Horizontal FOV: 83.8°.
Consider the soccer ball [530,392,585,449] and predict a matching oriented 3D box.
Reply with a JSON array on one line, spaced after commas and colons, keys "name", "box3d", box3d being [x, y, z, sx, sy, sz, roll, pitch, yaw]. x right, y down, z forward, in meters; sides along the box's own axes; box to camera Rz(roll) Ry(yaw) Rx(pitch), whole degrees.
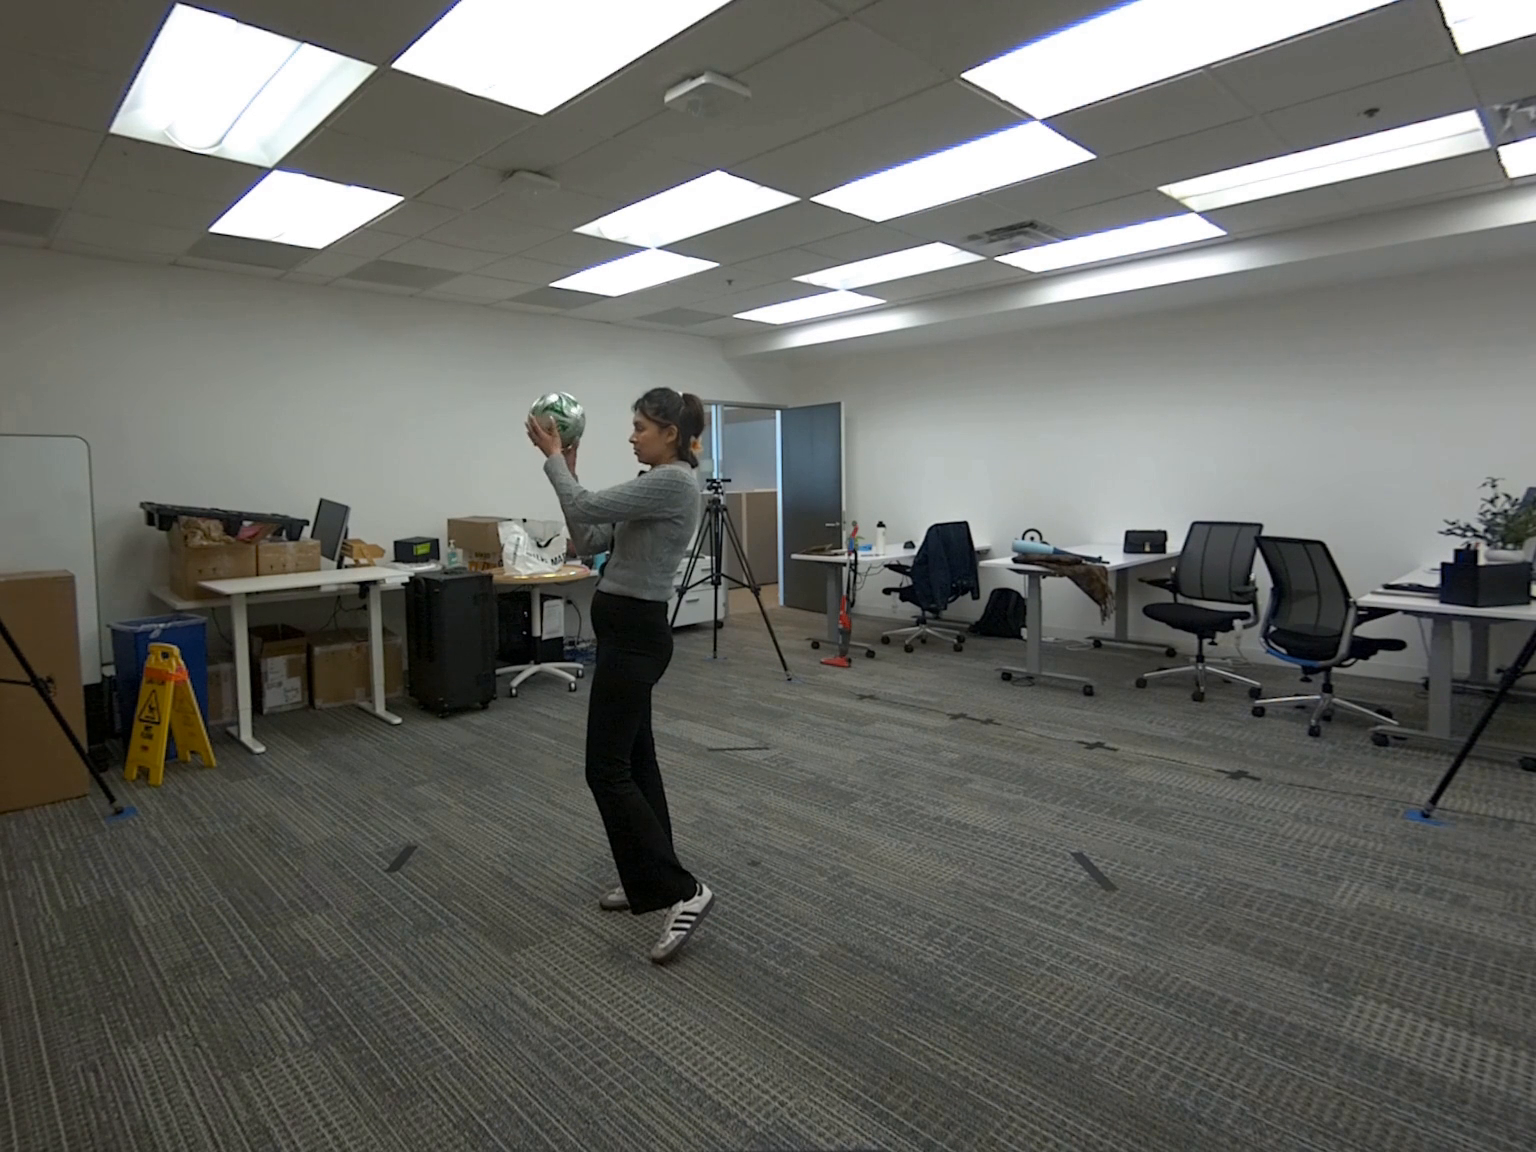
[{"name": "soccer ball", "box3d": [-0.686, -0.504, 2.809, 0.187, 0.187, 0.188, -1, 5, -2]}]
